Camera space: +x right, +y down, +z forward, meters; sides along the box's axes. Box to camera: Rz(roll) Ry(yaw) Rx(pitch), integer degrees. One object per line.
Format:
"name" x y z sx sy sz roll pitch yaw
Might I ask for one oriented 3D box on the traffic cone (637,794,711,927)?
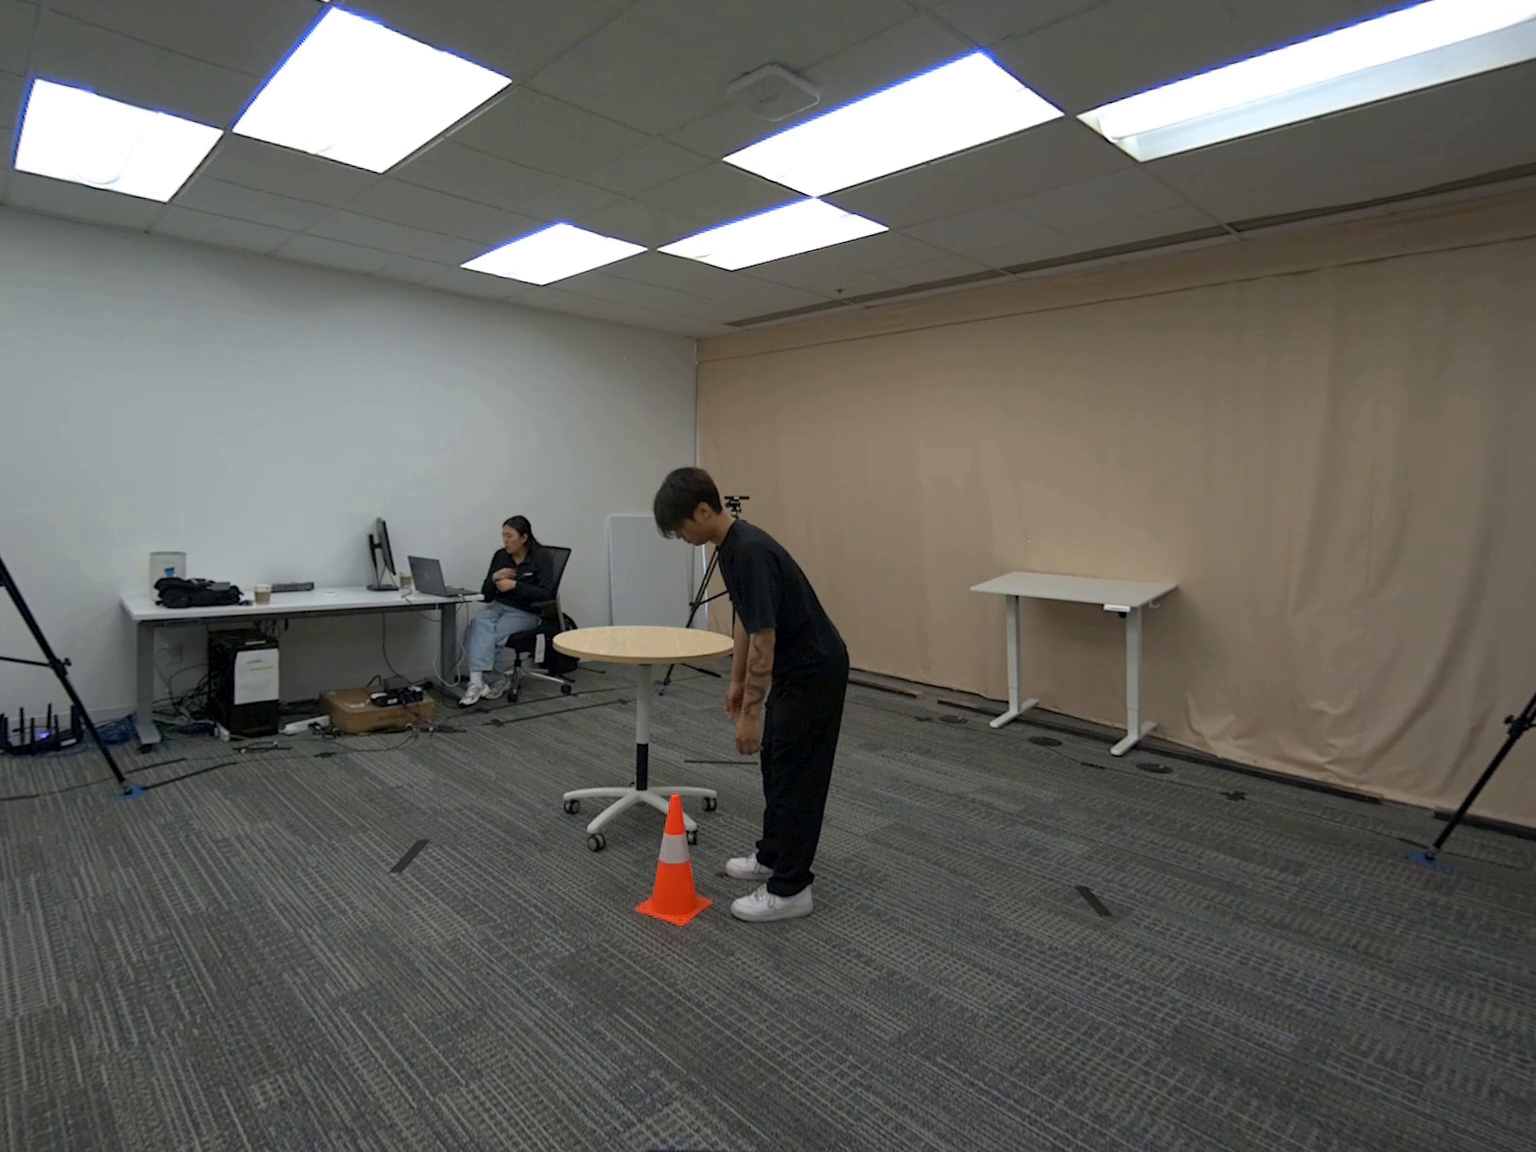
"traffic cone" -0.318 0.935 2.861 0.209 0.383 0.199 3 3 28
